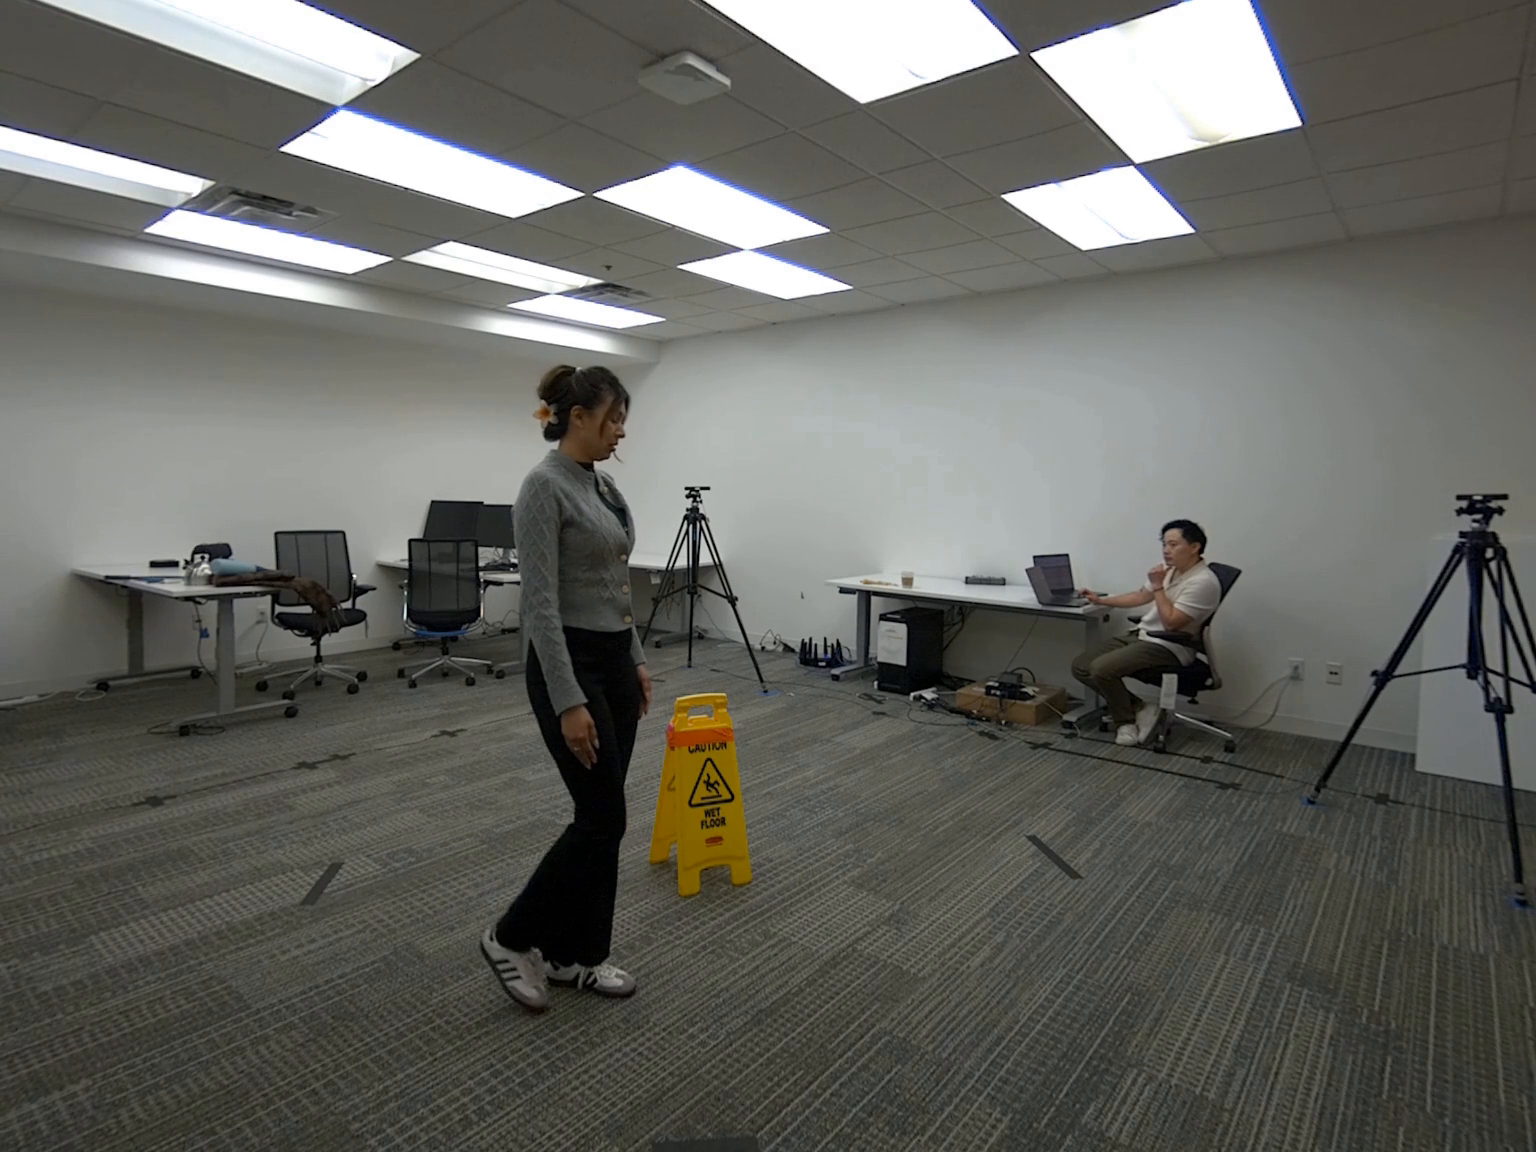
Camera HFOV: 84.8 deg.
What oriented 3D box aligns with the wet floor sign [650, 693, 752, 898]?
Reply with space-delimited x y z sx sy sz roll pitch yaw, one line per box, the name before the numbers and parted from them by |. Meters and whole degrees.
wet floor sign | -0.254 0.744 3.064 0.275 0.645 0.298 1 2 -28
